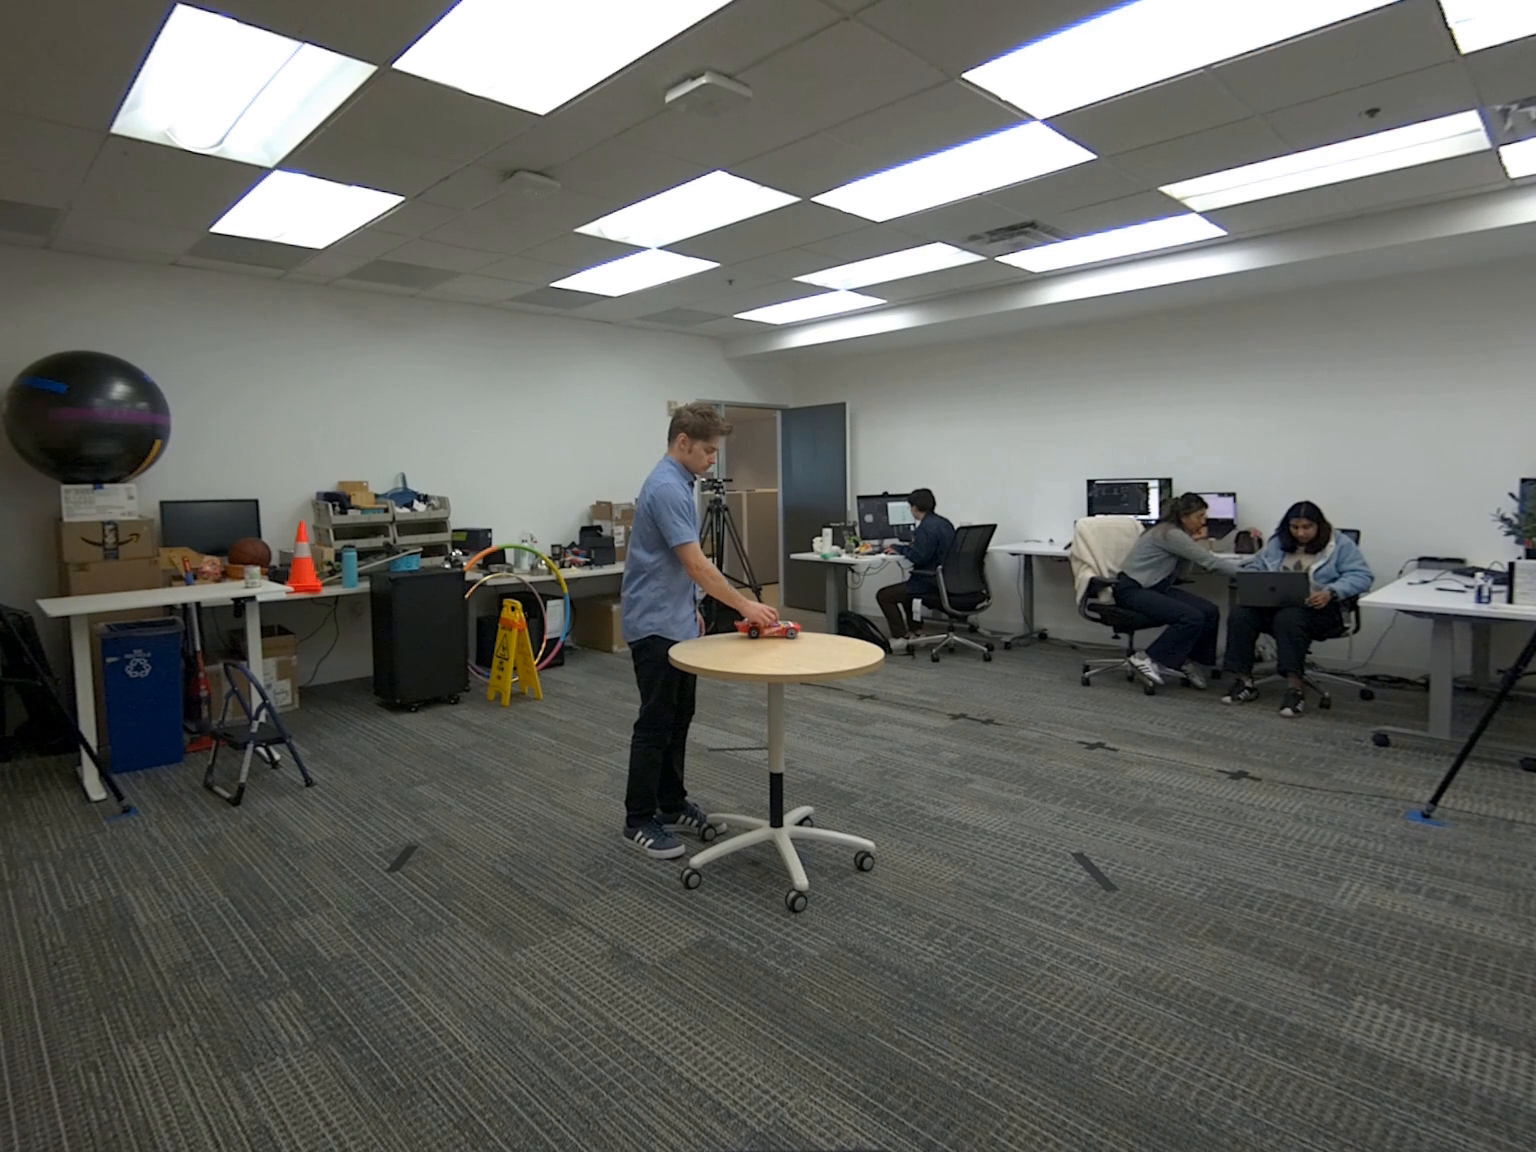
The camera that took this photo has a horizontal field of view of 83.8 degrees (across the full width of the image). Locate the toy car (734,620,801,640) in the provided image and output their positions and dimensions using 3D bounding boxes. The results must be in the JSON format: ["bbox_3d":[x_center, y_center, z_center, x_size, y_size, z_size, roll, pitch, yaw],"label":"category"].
[{"bbox_3d":[-0.011,0.204,3.308,0.255,0.083,0.130,12,4,0],"label":"toy car"}]
